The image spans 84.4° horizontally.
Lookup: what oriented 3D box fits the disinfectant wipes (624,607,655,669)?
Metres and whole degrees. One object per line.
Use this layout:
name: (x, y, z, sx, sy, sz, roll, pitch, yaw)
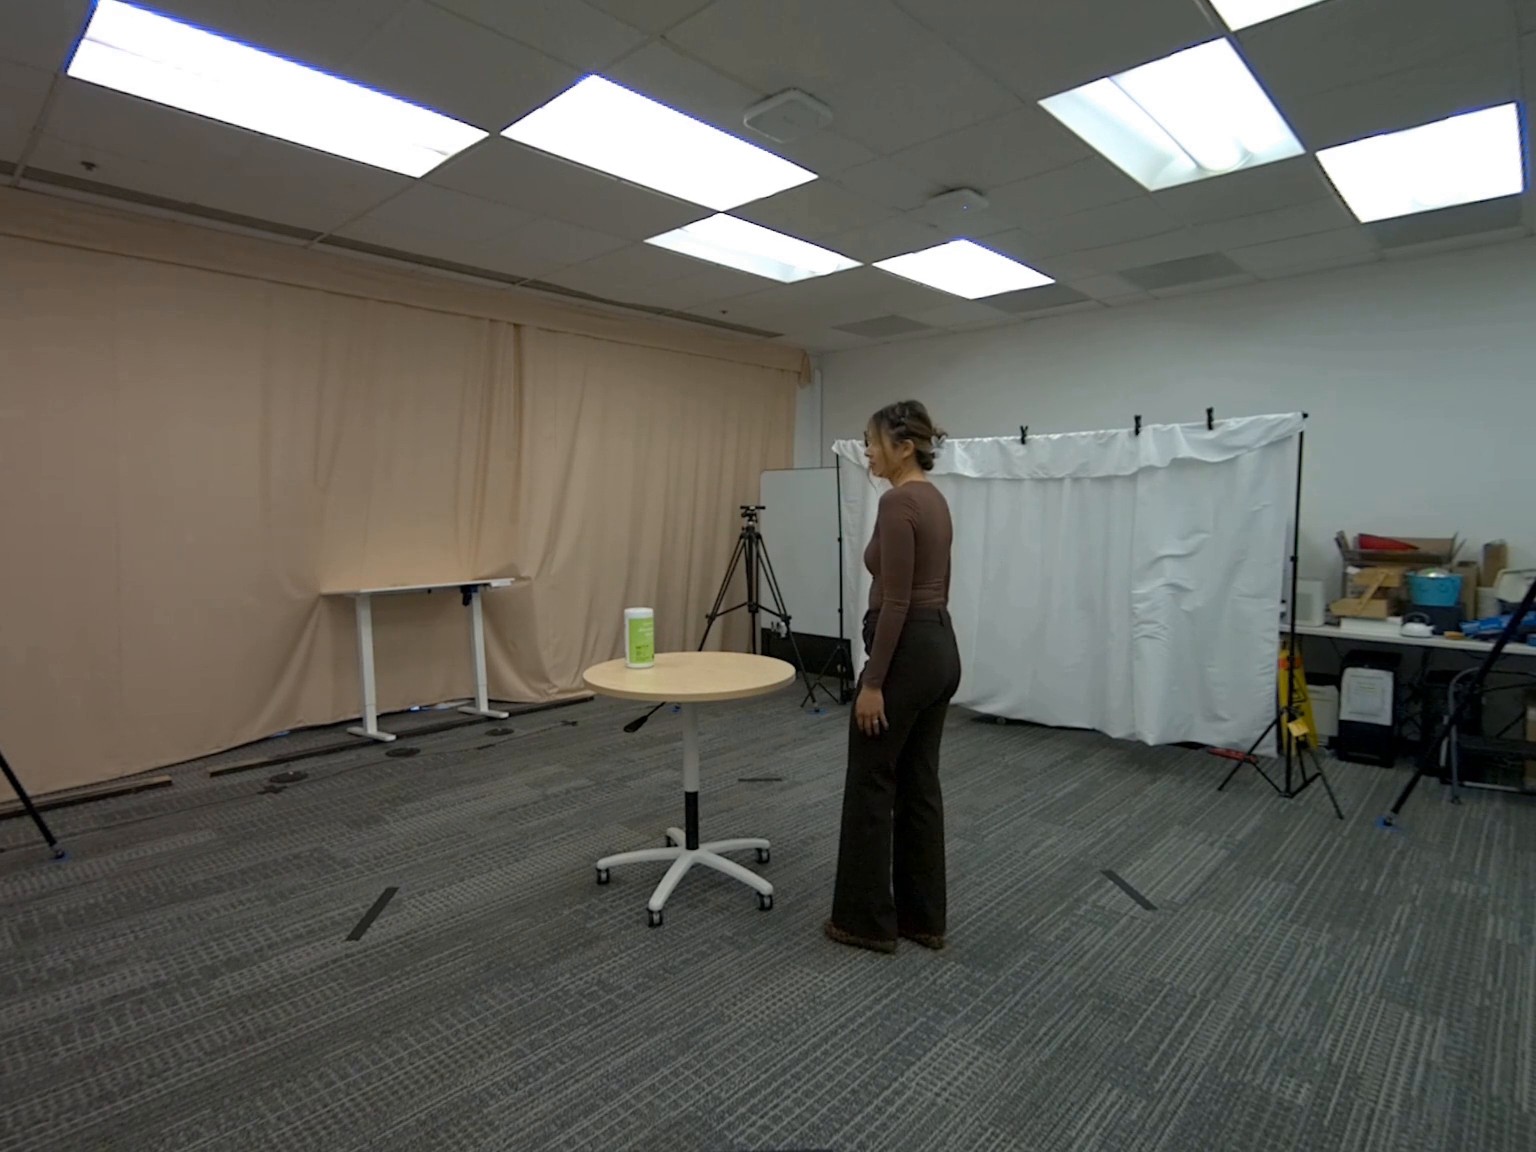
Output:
disinfectant wipes: (-0.484, 0.230, 3.146, 0.118, 0.217, 0.118, 0, 2, -2)
